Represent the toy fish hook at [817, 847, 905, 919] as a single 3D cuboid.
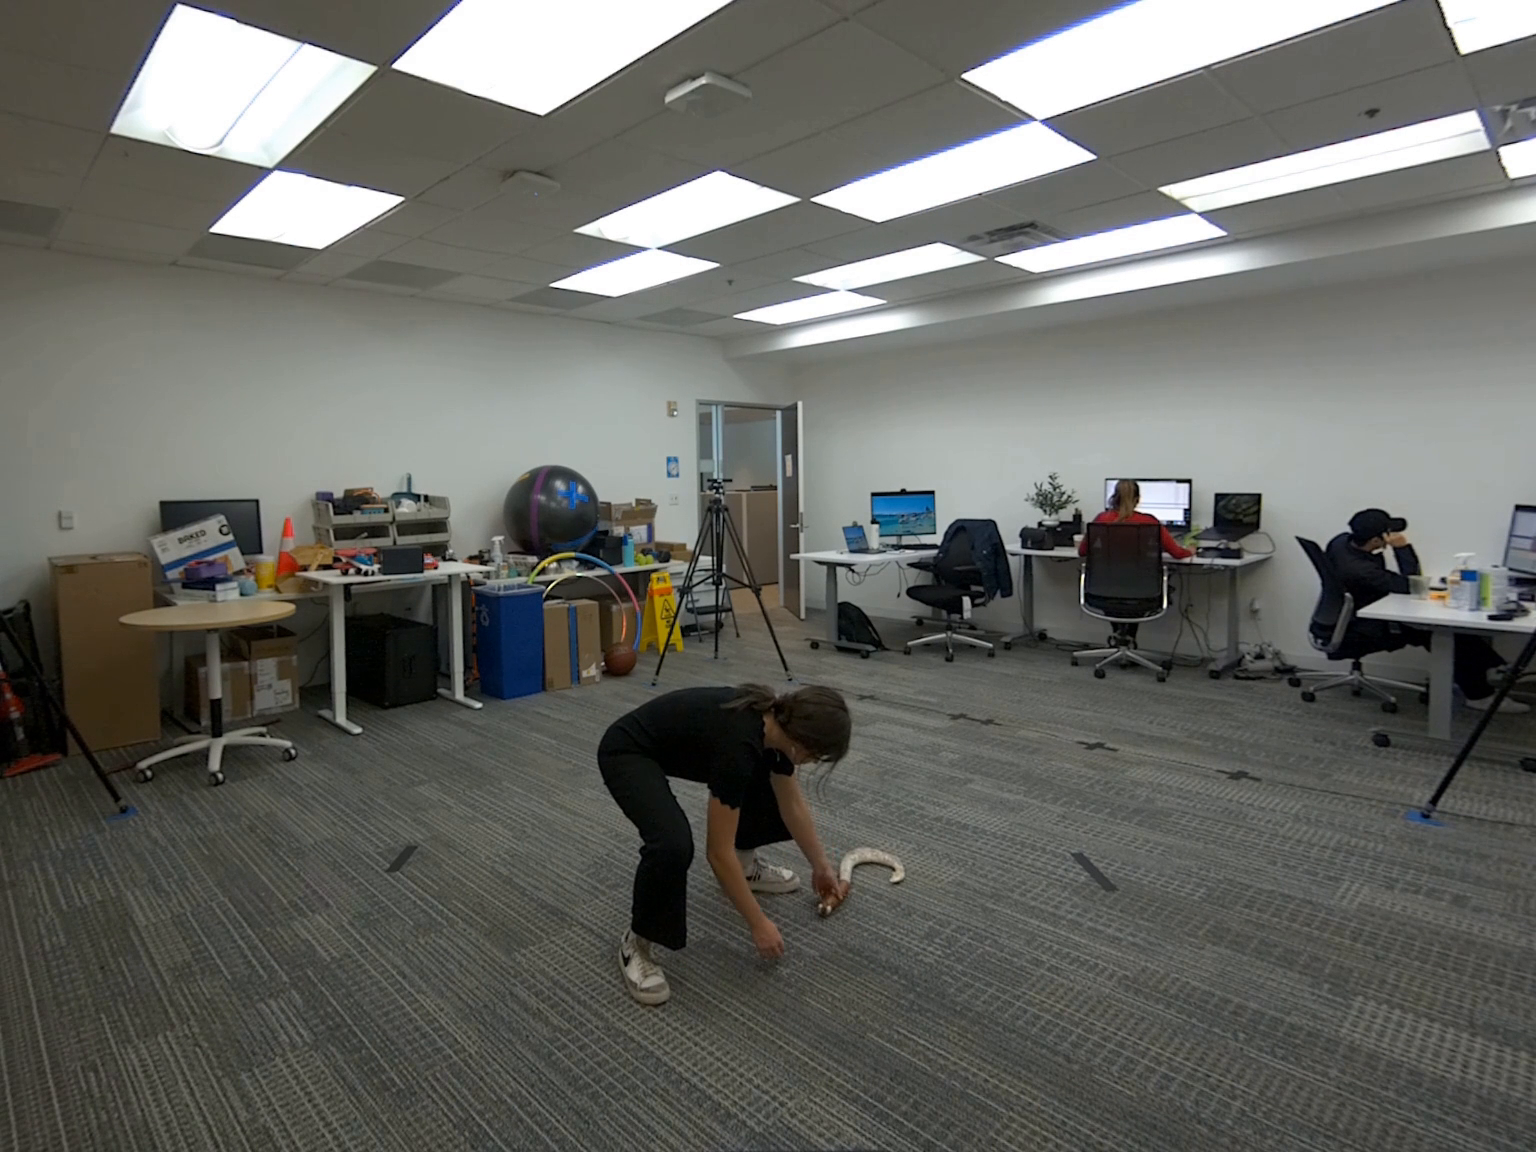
[{"bbox_3d":[0.321,1.042,2.894,0.230,0.048,0.497,1,7,24],"label":"toy fish hook"}]
